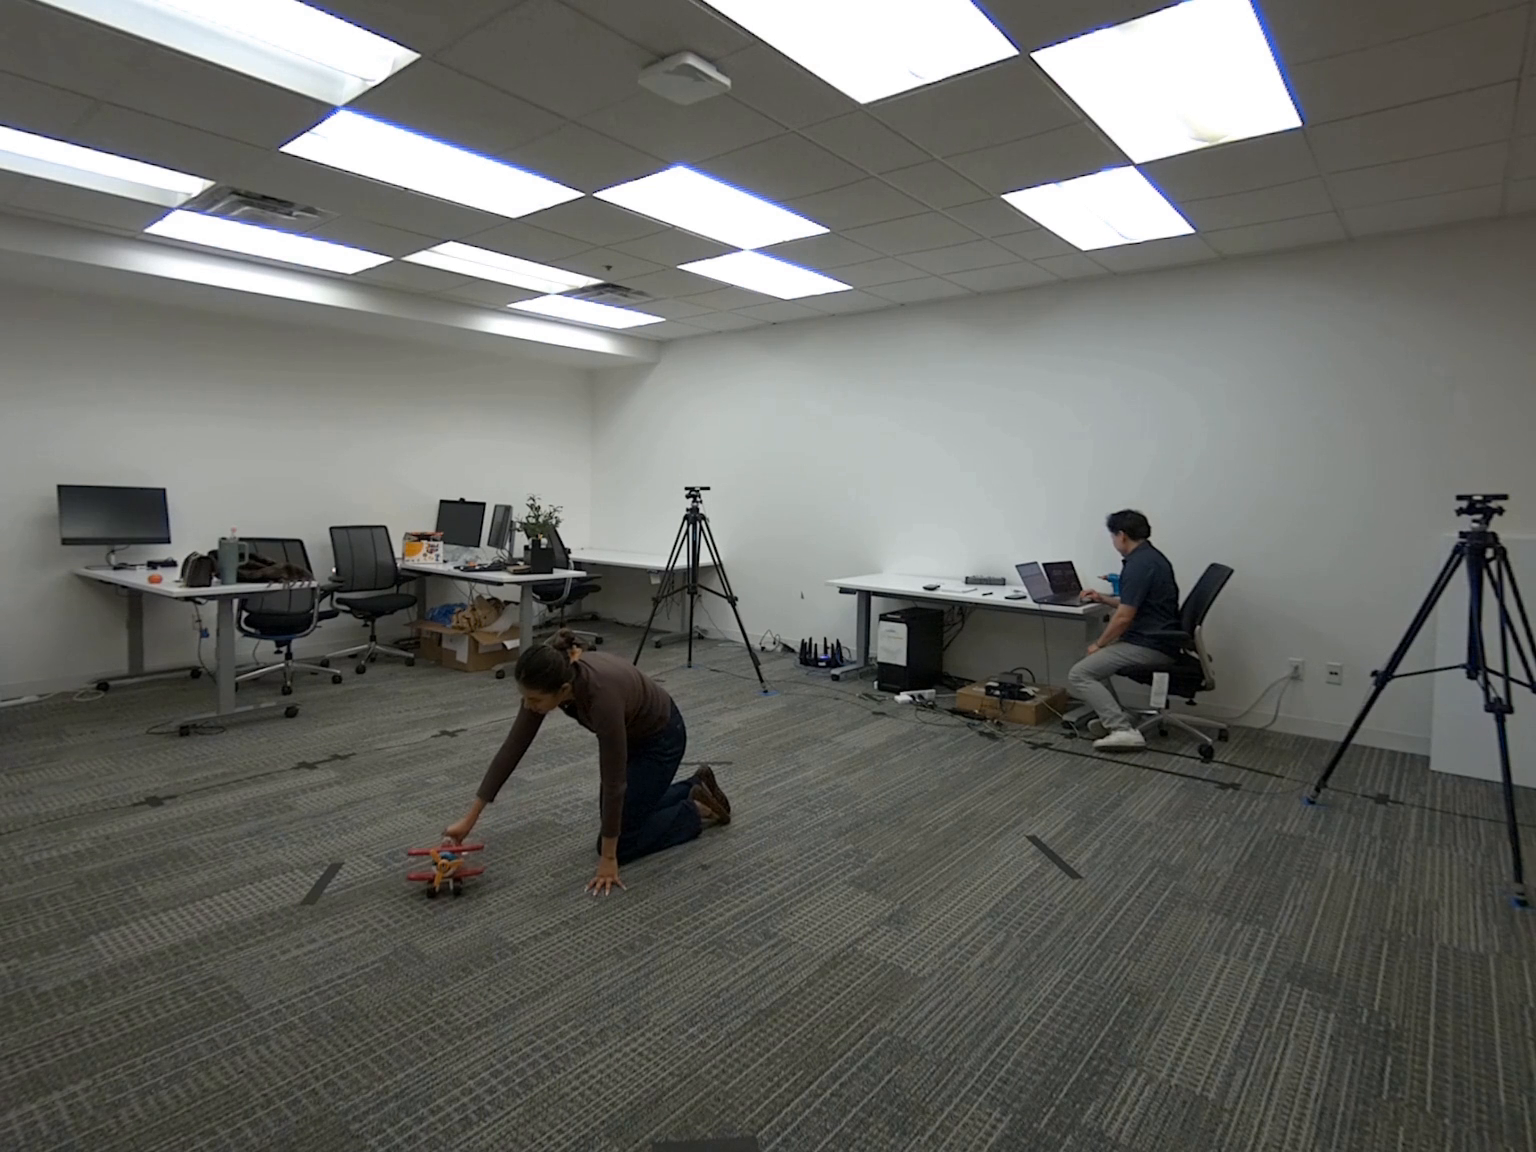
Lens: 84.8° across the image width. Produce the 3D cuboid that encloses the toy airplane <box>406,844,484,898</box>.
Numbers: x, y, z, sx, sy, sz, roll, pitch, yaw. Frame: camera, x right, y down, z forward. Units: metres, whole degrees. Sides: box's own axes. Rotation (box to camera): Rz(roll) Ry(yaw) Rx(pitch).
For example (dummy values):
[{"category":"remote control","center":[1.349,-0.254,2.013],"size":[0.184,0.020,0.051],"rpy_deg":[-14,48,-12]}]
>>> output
[{"category":"toy airplane","center":[-1.148,1.000,2.949],"size":[0.244,0.156,0.268],"rpy_deg":[-4,7,-41]}]
